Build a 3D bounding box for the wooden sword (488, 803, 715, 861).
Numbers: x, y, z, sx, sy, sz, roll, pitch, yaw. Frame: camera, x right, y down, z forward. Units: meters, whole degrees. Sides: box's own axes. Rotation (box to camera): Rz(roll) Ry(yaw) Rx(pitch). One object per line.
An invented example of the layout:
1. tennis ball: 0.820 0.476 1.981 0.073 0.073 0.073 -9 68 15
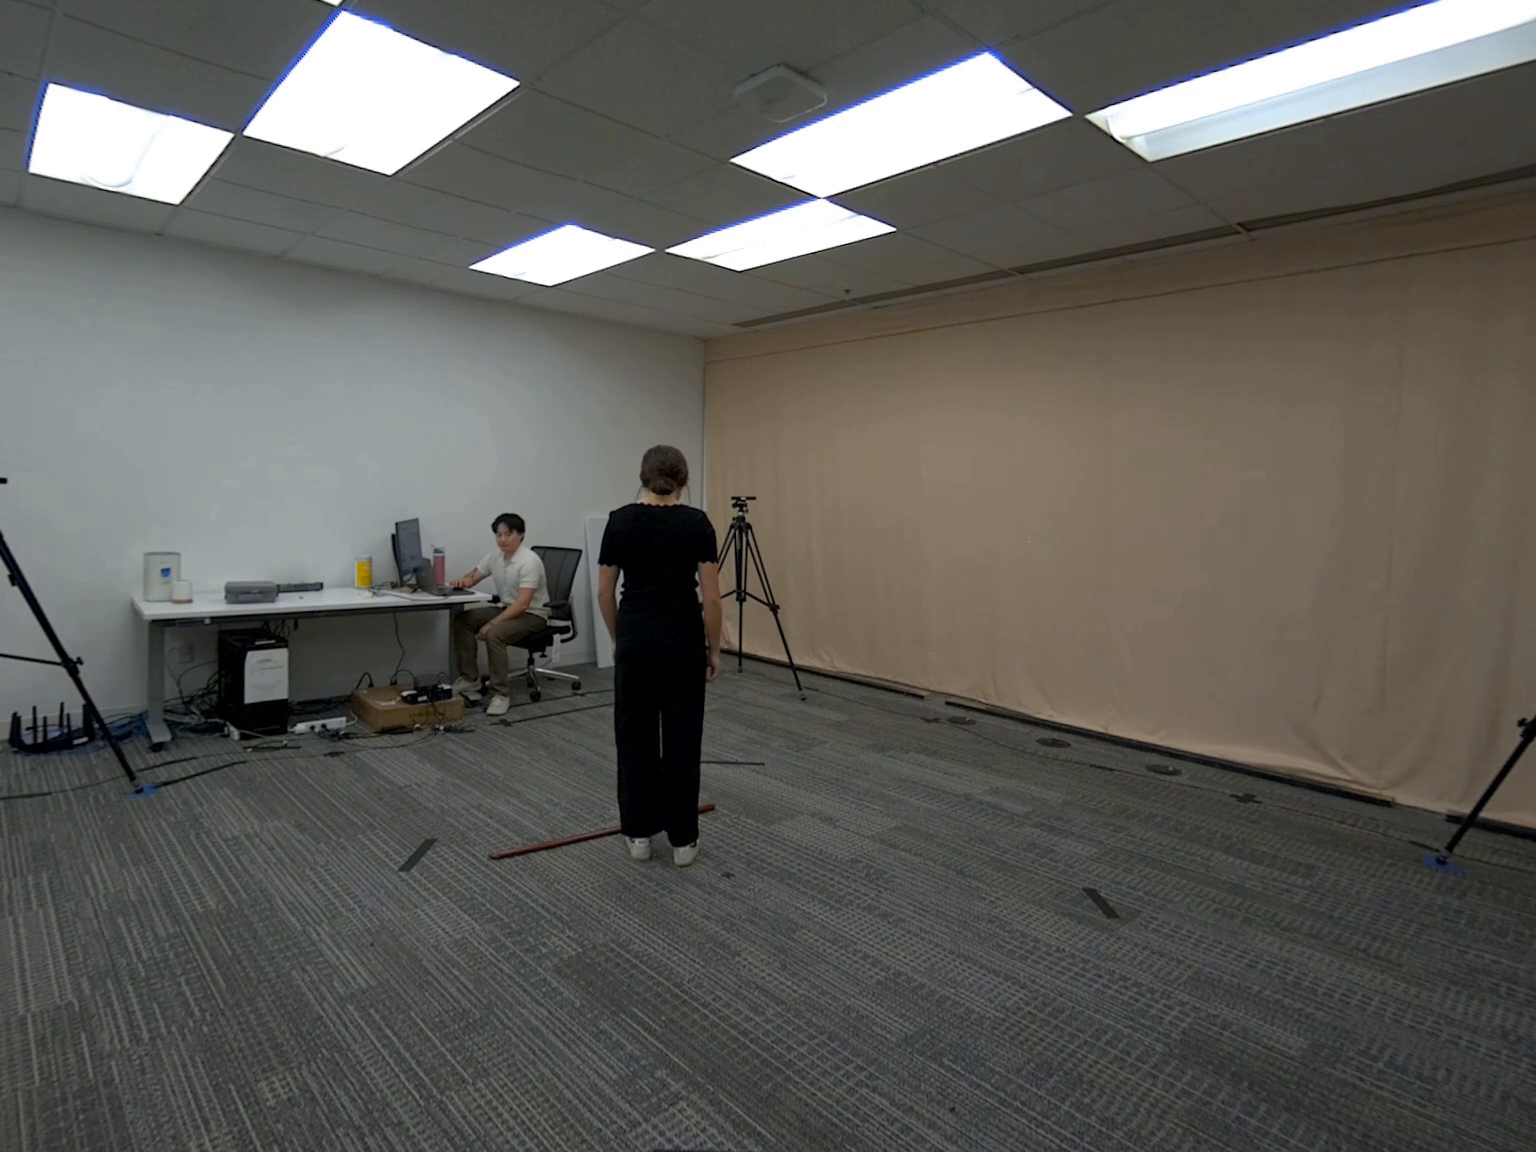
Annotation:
1. wooden sword: -0.649 1.044 3.471 1.002 0.024 0.052 -2 -1 -36
